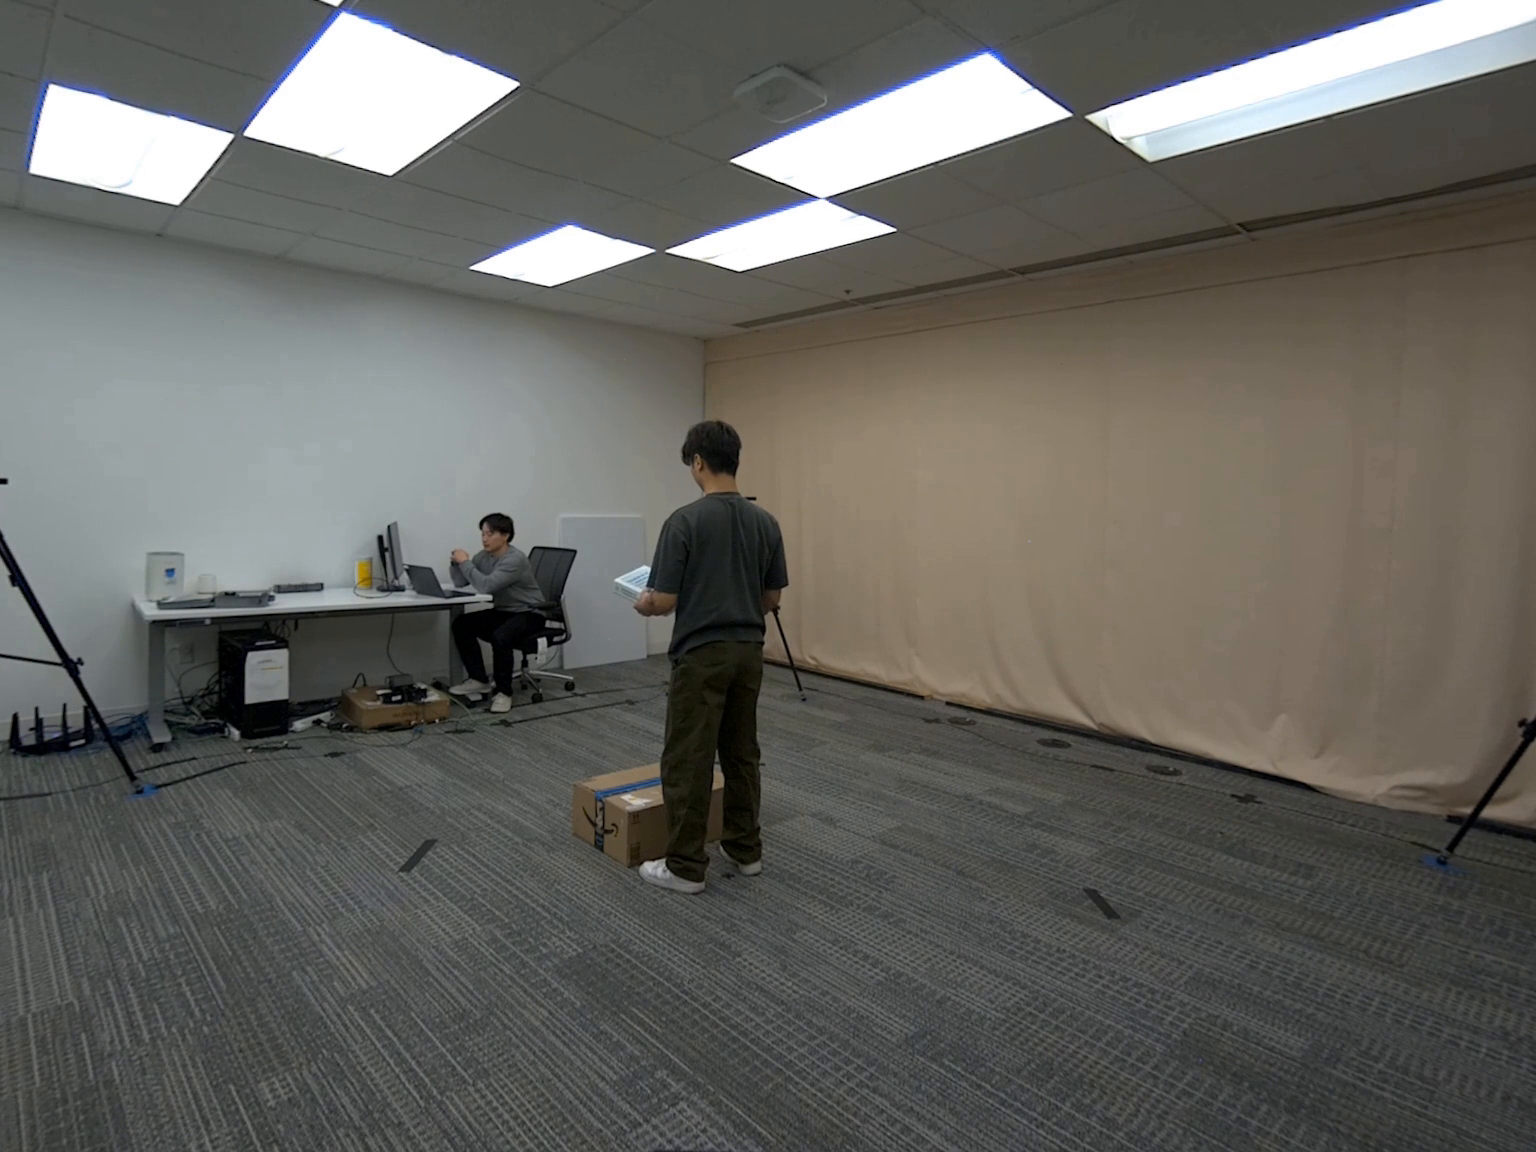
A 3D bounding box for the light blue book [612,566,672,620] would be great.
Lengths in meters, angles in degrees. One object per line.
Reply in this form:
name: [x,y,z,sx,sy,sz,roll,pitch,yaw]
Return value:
light blue book: [-0.443,0.060,3.278,0.268,0.058,0.189,23,29,30]
